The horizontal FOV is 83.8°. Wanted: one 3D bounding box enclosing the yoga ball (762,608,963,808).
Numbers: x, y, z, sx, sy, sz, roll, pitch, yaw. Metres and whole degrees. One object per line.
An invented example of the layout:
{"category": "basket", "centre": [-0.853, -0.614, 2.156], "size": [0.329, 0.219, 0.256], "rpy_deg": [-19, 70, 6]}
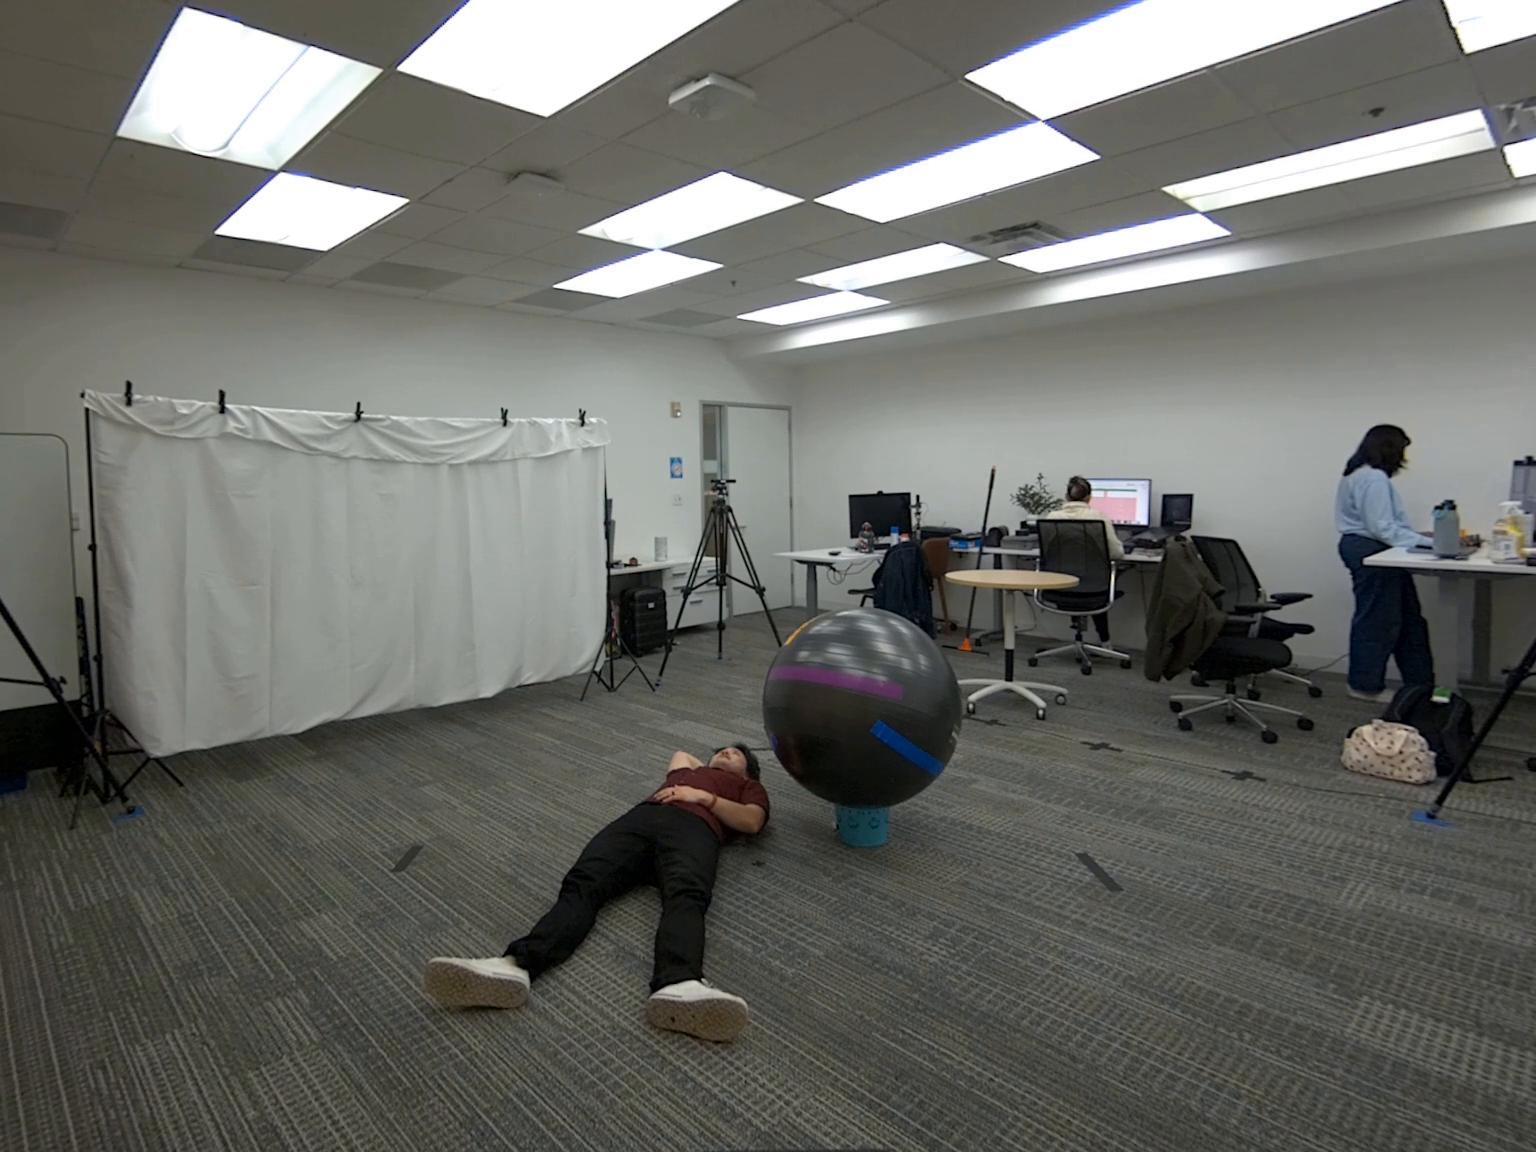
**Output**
{"category": "yoga ball", "centre": [0.361, 0.506, 3.314], "size": [0.757, 0.755, 0.762], "rpy_deg": [-1, 5, -2]}
